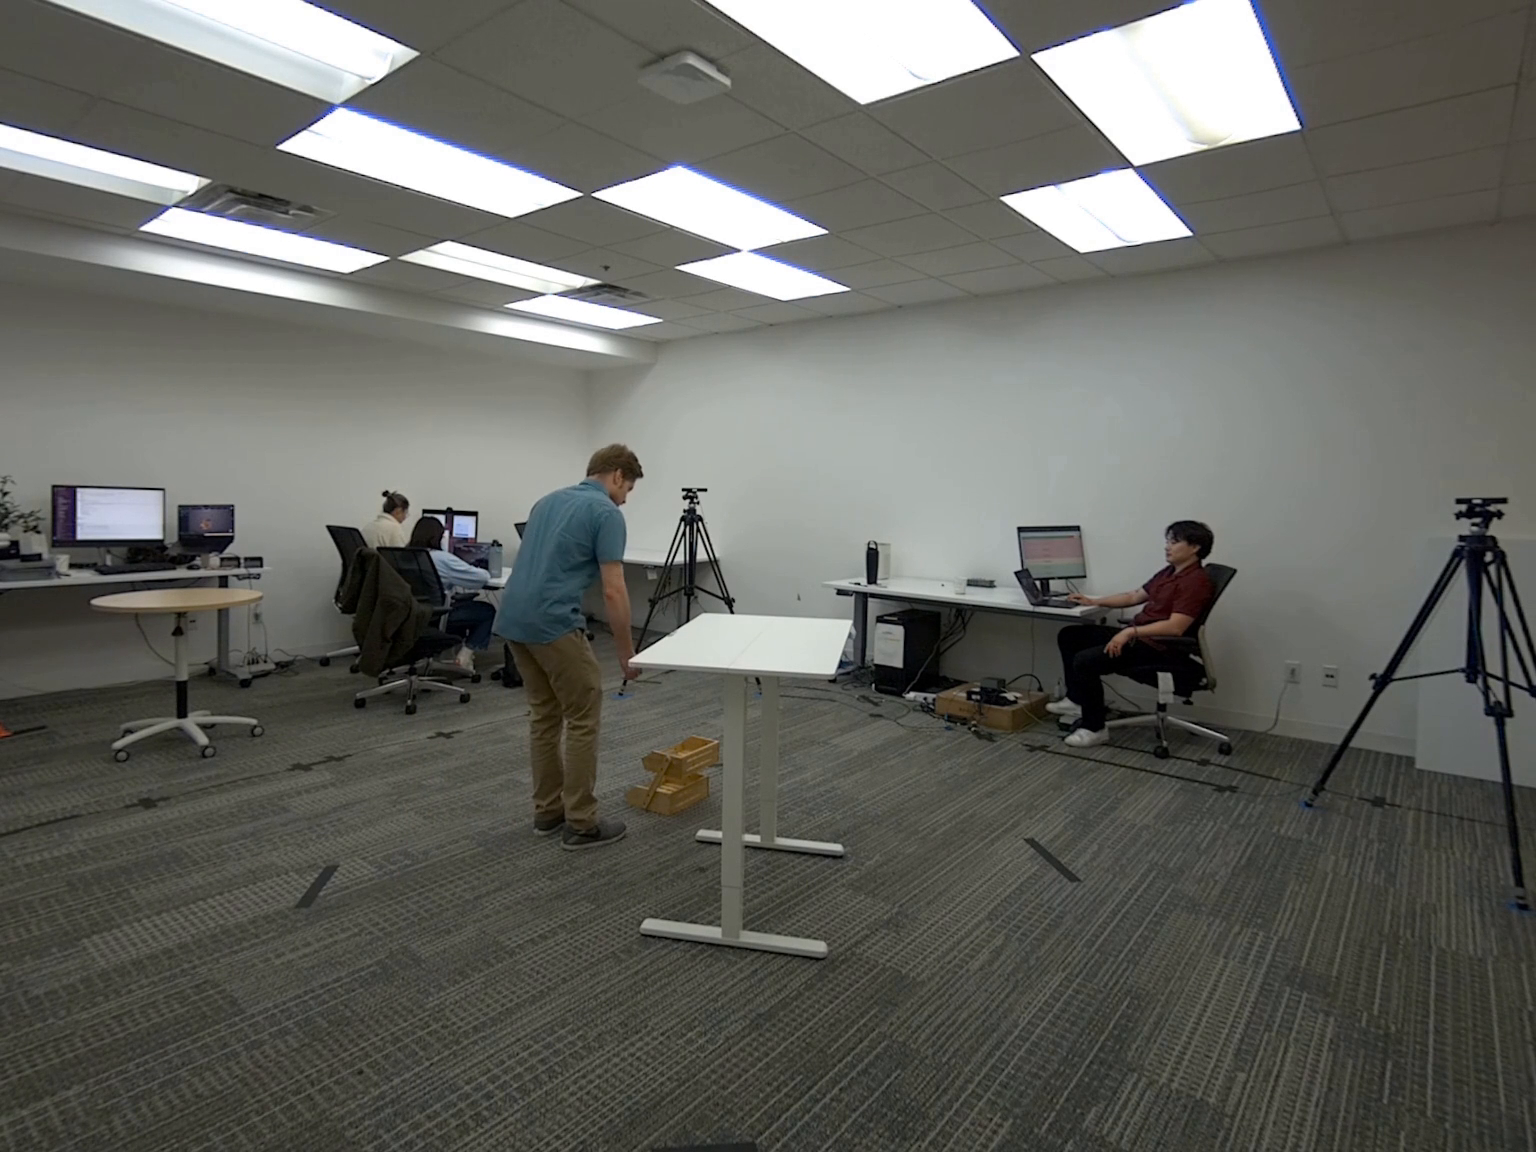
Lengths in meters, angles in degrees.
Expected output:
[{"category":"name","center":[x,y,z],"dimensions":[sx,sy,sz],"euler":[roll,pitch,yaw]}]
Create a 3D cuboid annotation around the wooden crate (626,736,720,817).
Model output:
[{"category":"wooden crate","center":[-0.444,0.865,3.786],"dimensions":[0.311,0.272,0.316],"euler":[4,5,31]}]
